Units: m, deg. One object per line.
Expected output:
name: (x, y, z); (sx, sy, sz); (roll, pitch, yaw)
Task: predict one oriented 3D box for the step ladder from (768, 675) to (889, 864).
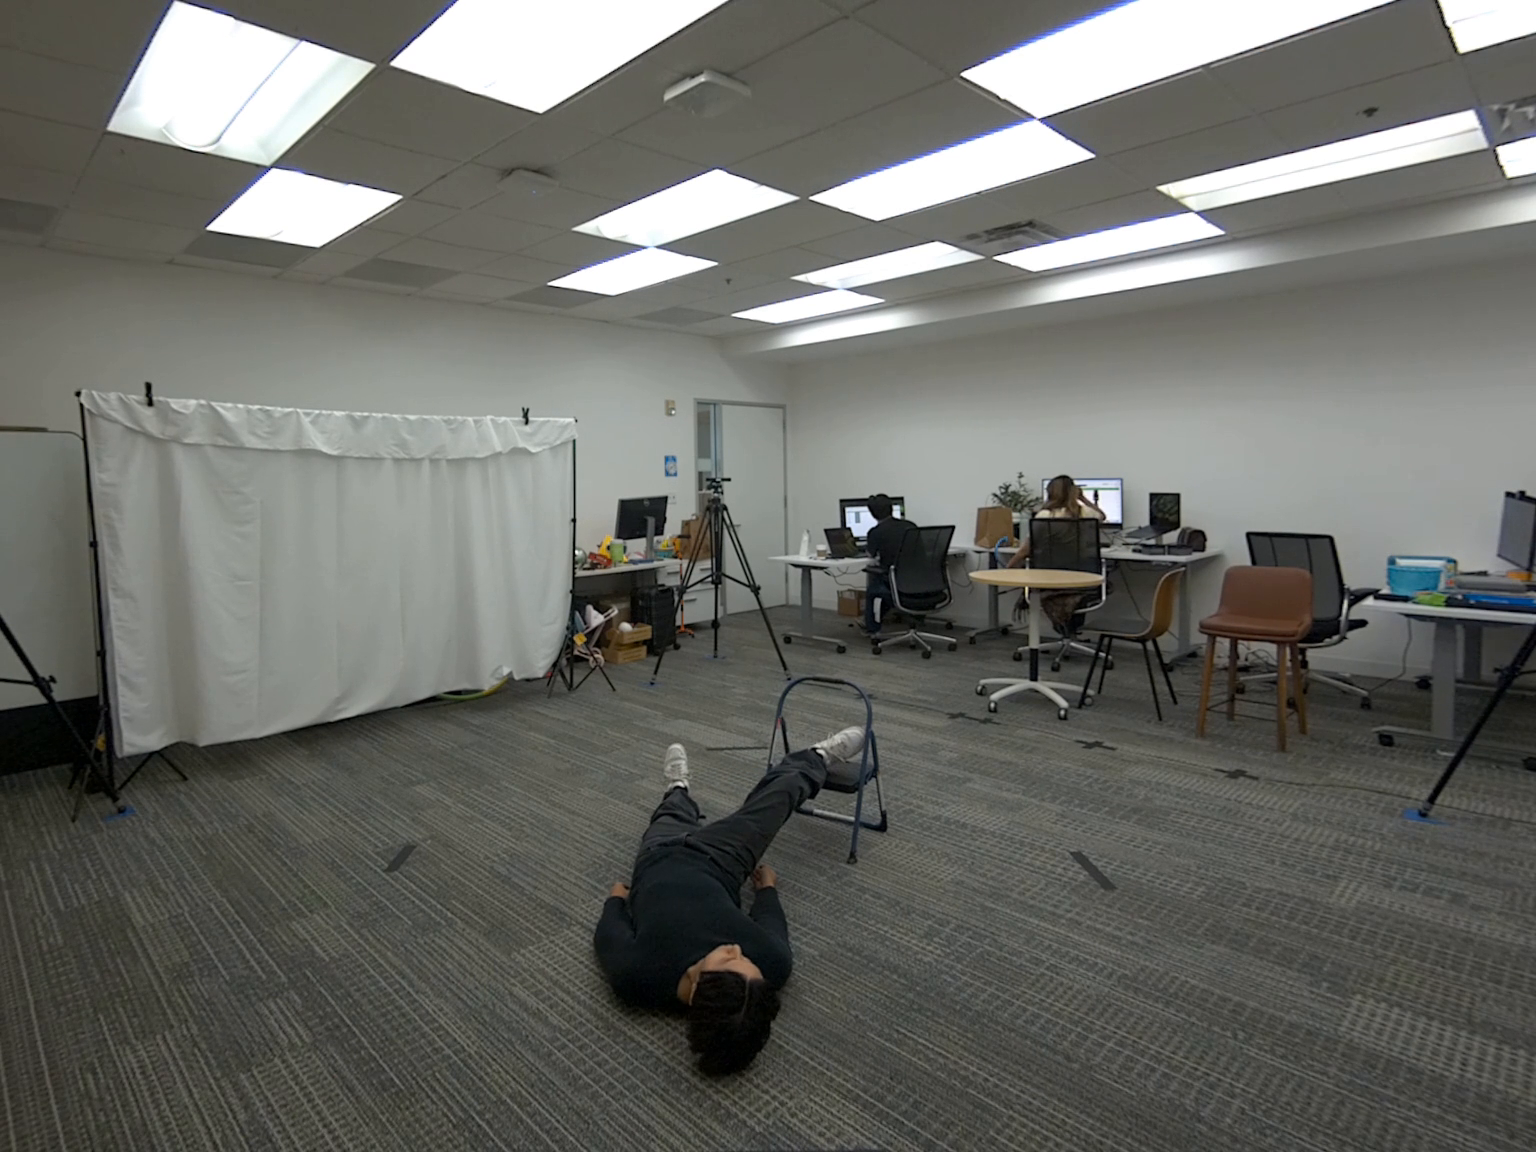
step ladder: (0.211, 0.709, 3.319); (0.442, 0.604, 0.341); (2, 5, 32)
